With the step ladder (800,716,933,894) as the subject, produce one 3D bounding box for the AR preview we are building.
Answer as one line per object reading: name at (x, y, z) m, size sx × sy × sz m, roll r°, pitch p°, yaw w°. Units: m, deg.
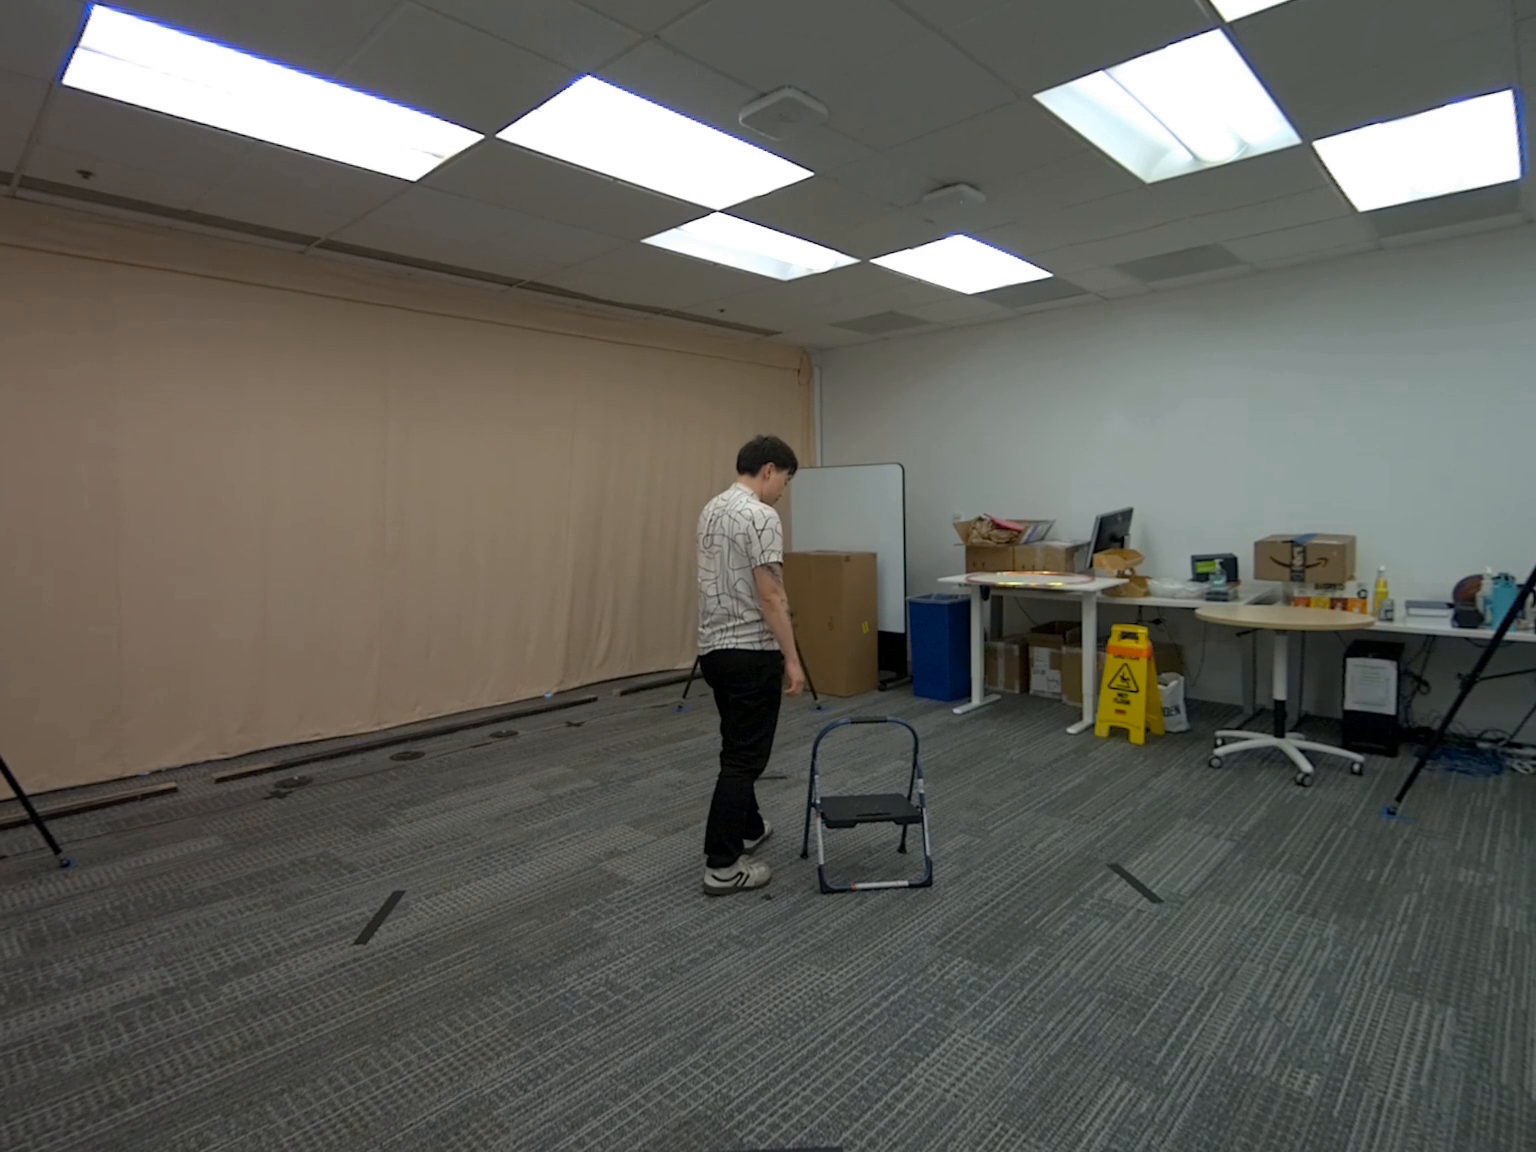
step ladder at (0.367, 0.816, 3.164) m, size 0.427 × 0.605 × 0.353 m, roll -1°, pitch 3°, yaw -8°
